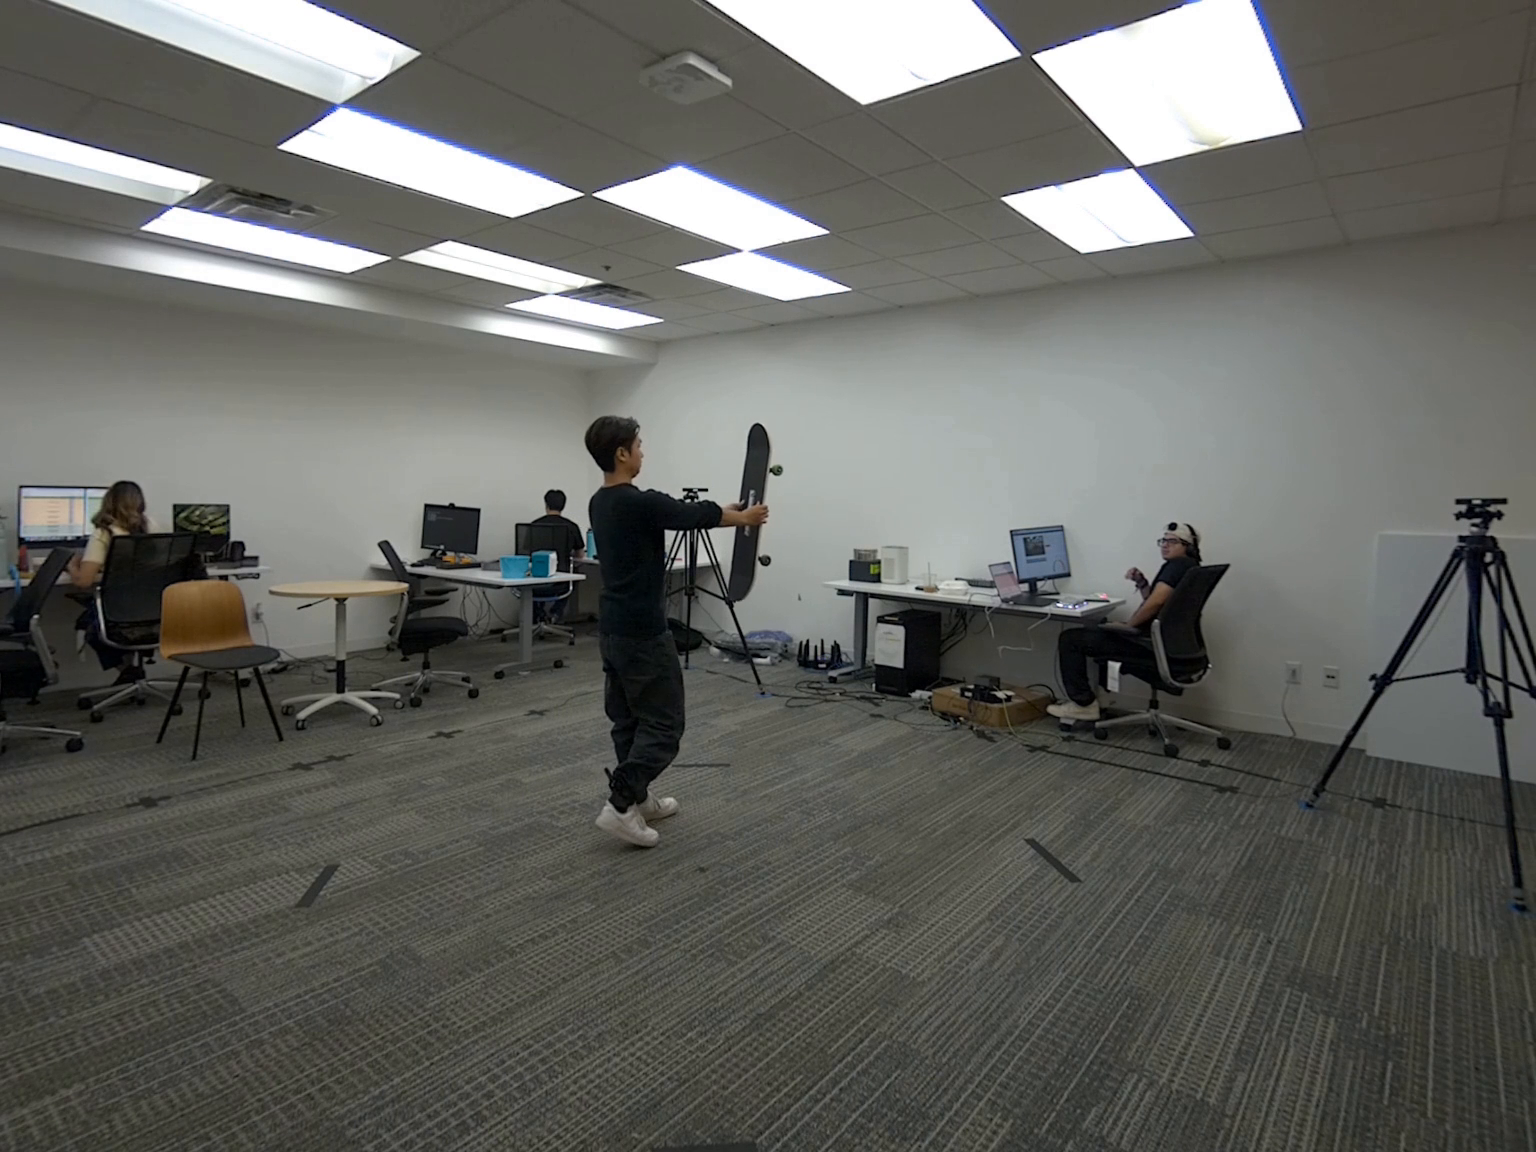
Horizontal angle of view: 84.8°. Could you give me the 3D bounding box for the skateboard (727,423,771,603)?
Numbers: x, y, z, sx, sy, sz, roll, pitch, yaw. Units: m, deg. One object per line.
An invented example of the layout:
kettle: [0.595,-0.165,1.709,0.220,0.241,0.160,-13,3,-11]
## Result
skateboard: [-0.066,-0.278,3.760,0.107,0.784,0.200,7,2,-34]
